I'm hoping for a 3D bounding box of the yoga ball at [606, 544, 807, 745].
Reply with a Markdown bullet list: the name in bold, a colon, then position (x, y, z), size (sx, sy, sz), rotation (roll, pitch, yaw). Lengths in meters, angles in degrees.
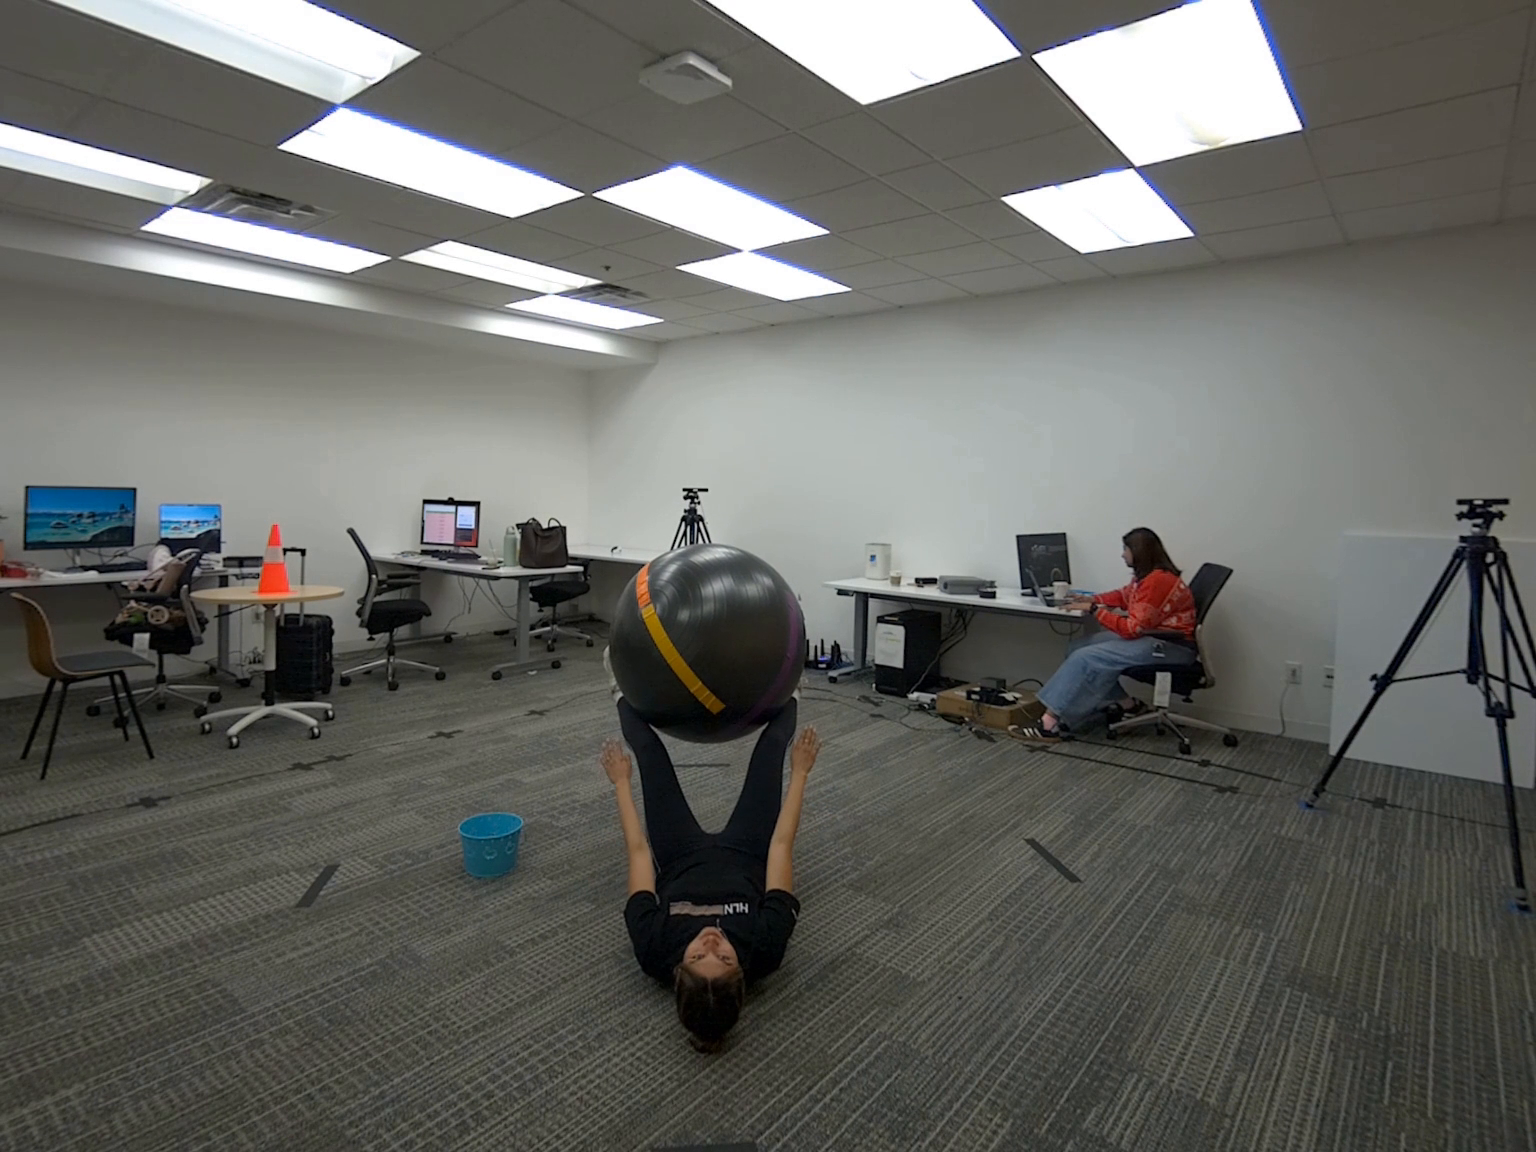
- **yoga ball**: position (-0.233, 0.255, 3.256), size (0.757, 0.756, 0.762), rotation (1, 4, -2)
